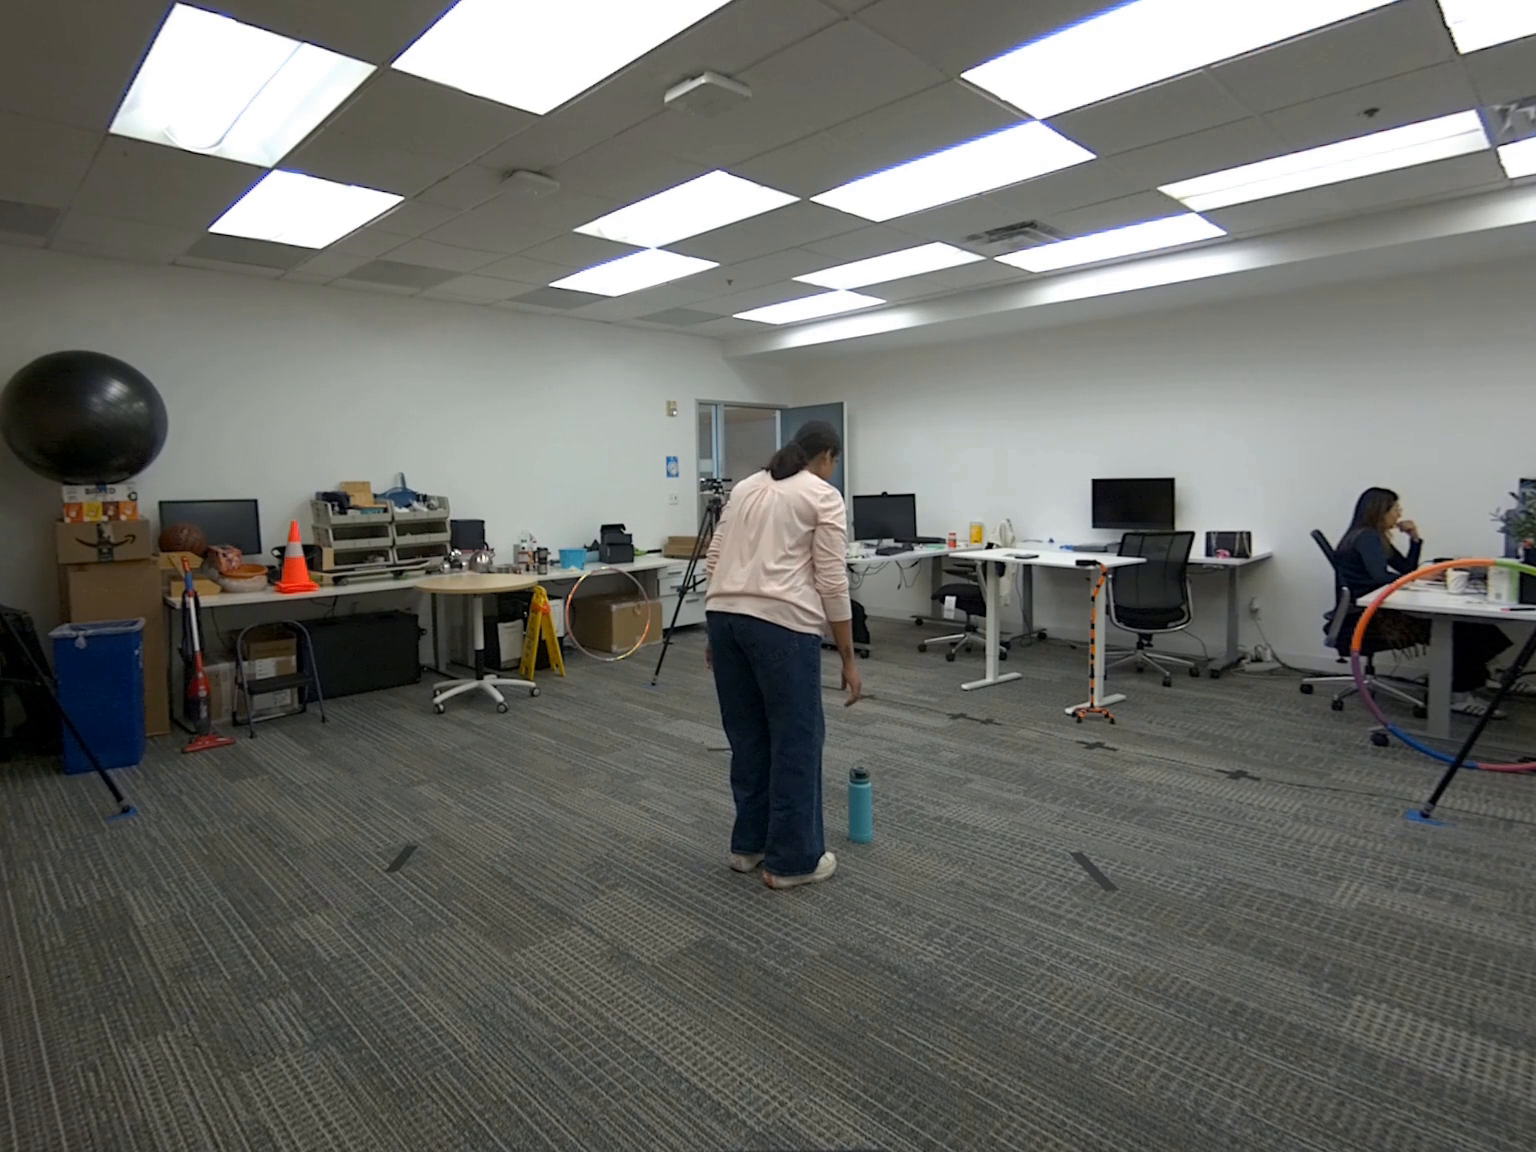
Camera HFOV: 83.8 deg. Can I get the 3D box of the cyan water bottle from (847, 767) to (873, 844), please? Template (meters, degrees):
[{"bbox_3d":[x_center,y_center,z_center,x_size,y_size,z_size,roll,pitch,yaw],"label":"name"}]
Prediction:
[{"bbox_3d":[0.358,0.876,3.300,0.092,0.283,0.092,-2,0,-2],"label":"cyan water bottle"}]
